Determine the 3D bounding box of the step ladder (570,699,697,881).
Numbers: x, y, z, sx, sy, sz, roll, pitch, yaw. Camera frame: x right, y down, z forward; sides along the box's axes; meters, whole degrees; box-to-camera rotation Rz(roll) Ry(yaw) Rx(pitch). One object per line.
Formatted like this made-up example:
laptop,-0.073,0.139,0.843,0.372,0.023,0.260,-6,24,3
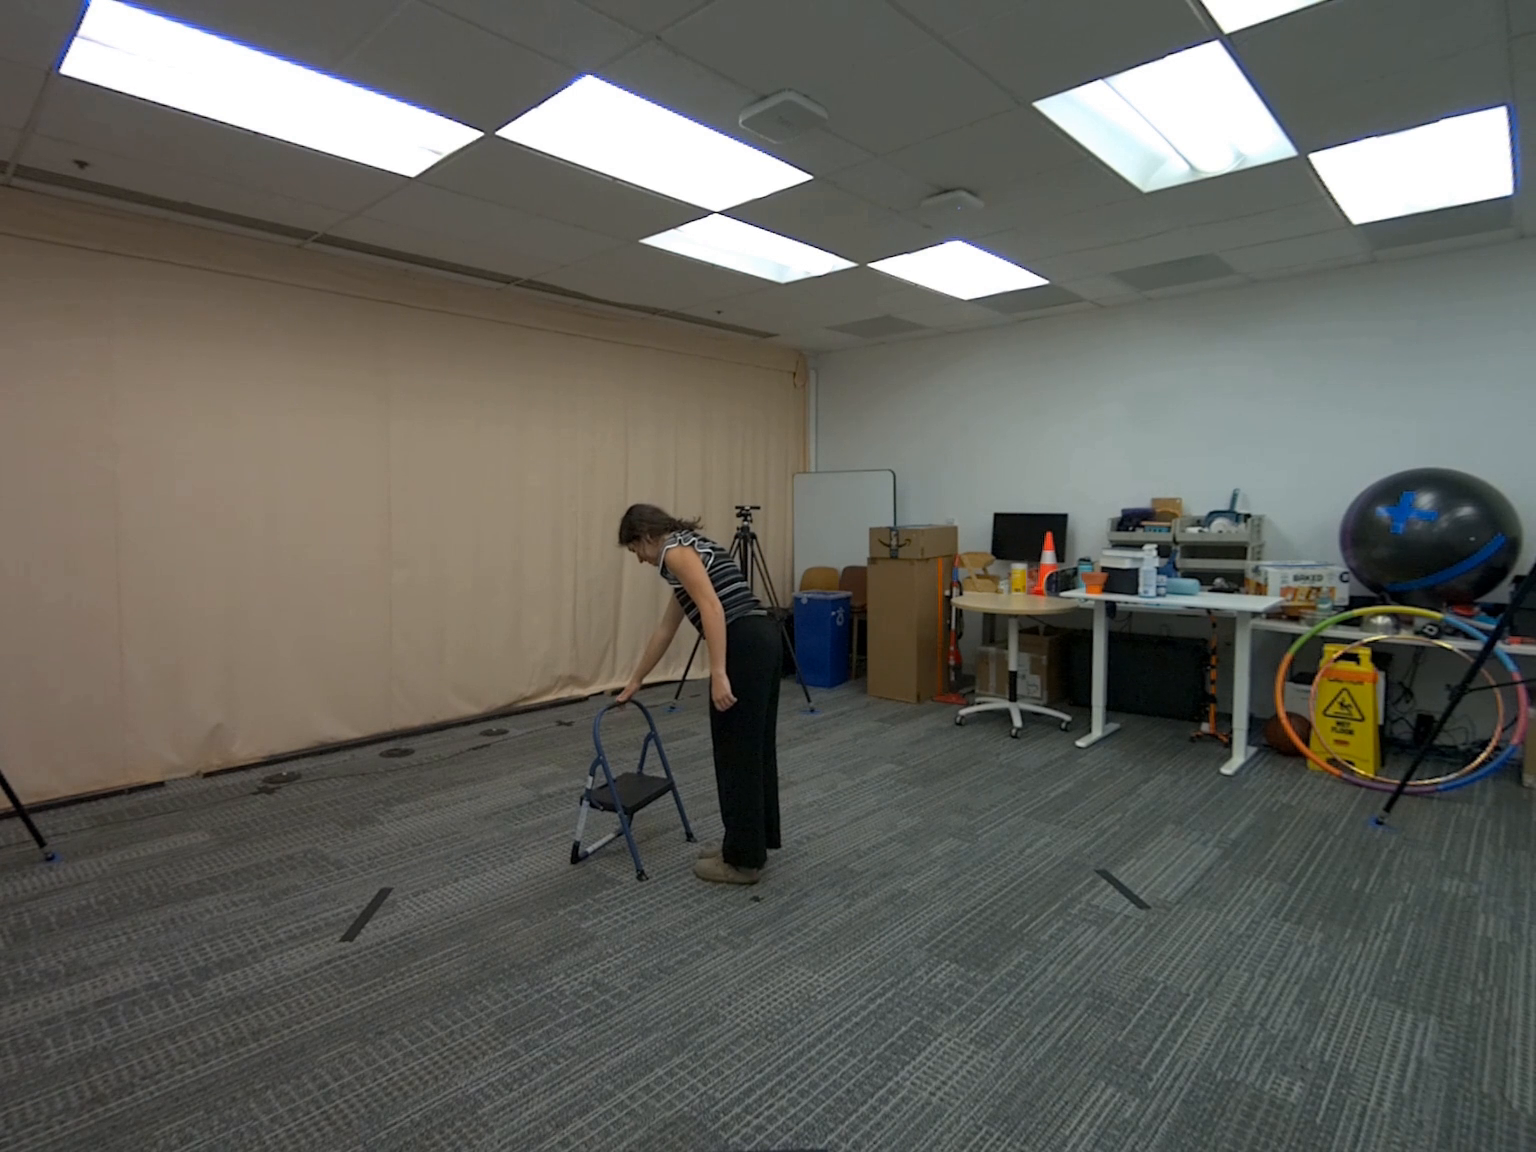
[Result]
step ladder,-0.538,0.812,3.387,0.358,0.605,0.421,0,3,24
